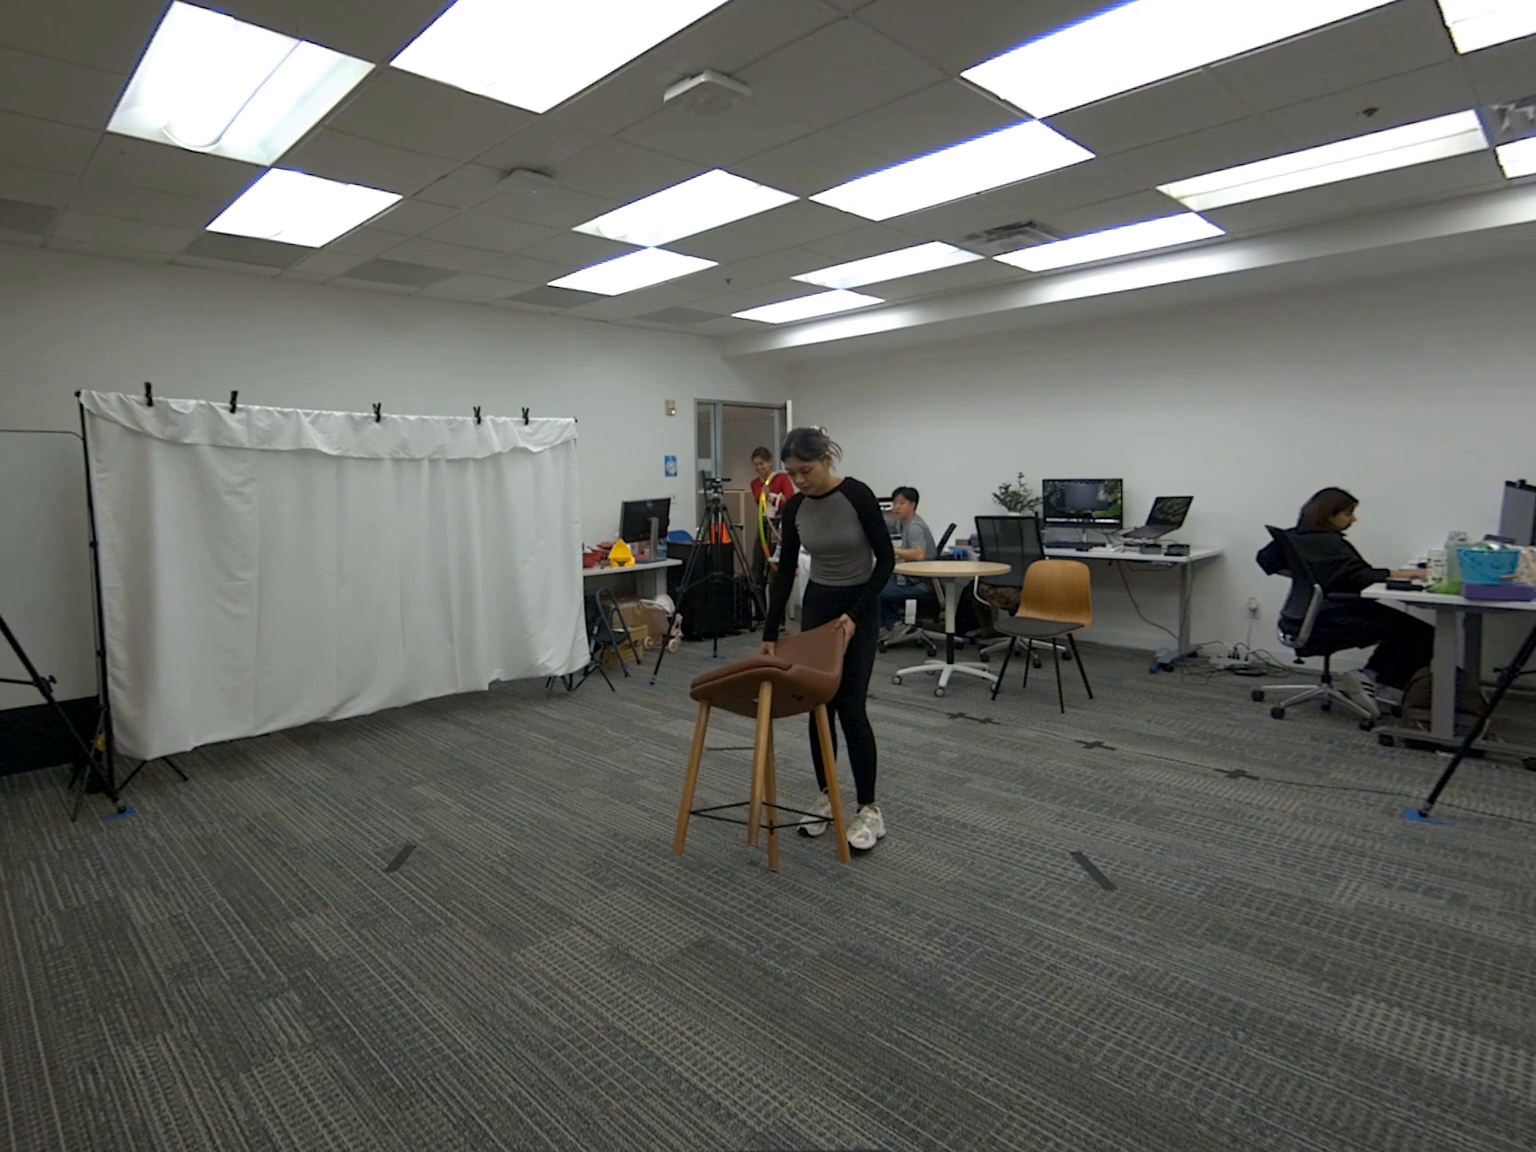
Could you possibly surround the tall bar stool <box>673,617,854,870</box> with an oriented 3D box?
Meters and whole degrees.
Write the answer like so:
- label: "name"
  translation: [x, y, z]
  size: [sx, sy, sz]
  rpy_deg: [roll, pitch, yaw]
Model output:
- label: "tall bar stool"
  translation: [0.000, 0.536, 3.002]
  size: [0.452, 0.908, 0.463]
  rpy_deg: [23, -33, -34]
